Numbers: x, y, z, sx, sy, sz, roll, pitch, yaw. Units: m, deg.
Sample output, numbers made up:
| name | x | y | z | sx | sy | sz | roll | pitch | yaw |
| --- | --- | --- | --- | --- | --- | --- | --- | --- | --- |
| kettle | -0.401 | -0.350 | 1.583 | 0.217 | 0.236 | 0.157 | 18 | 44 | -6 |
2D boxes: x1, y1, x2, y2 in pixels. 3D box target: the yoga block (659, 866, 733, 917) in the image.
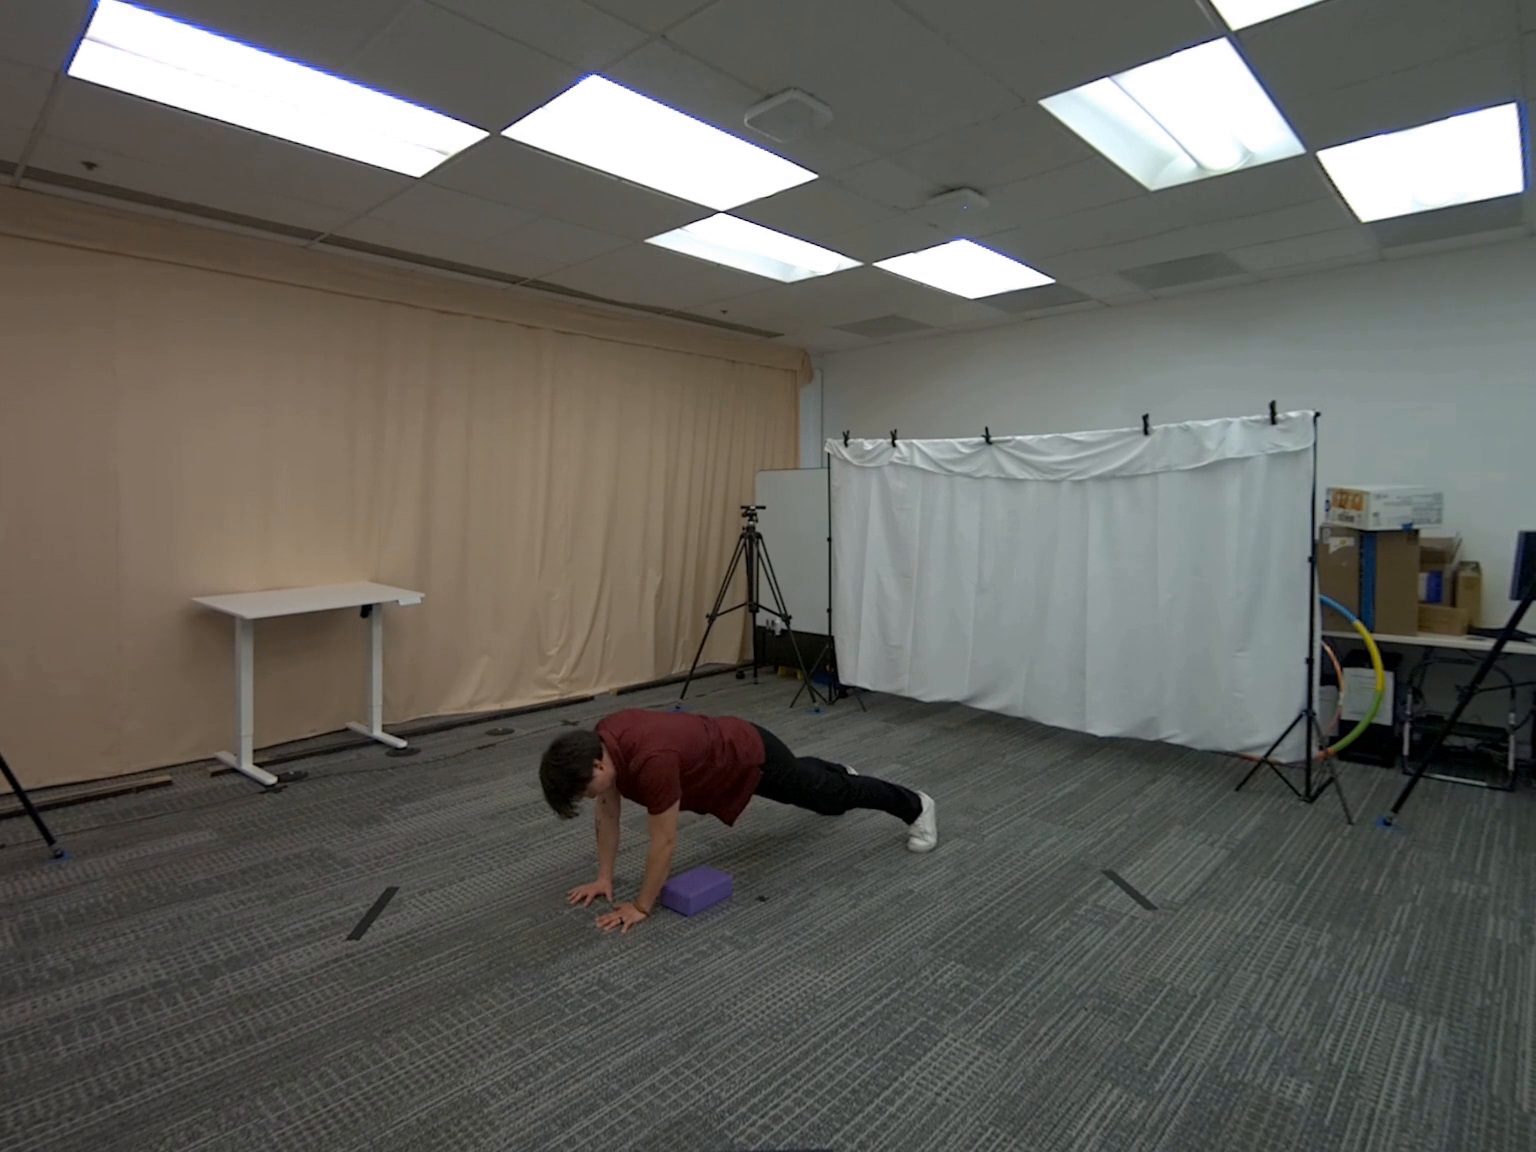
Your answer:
| name | x | y | z | sx | sy | sz | roll | pitch | yaw |
| --- | --- | --- | --- | --- | --- | --- | --- | --- | --- |
| yoga block | -0.248 | 1.103 | 2.968 | 0.154 | 0.076 | 0.222 | 5 | 8 | 42 |
